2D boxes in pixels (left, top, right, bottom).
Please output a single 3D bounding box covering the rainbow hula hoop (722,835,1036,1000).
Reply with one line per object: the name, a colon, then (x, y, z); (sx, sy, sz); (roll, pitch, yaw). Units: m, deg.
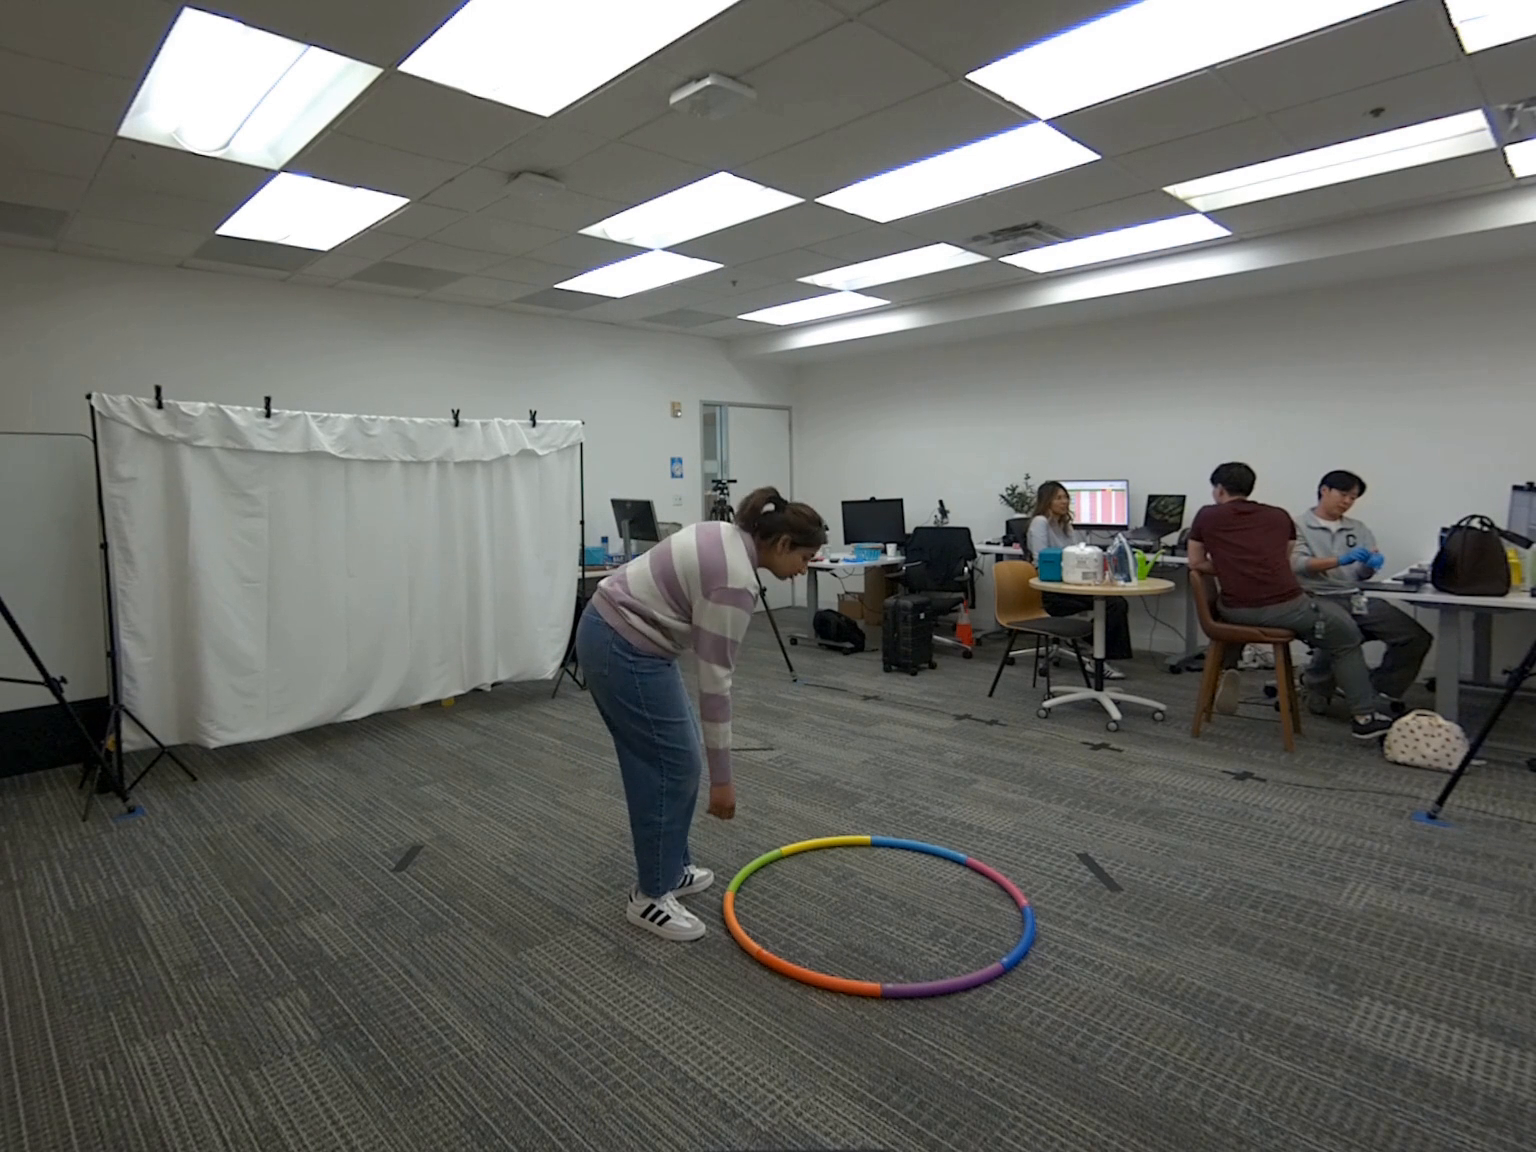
rainbow hula hoop: (0.343, 1.049, 2.776); (0.978, 0.035, 0.984); (-2, 7, -2)
